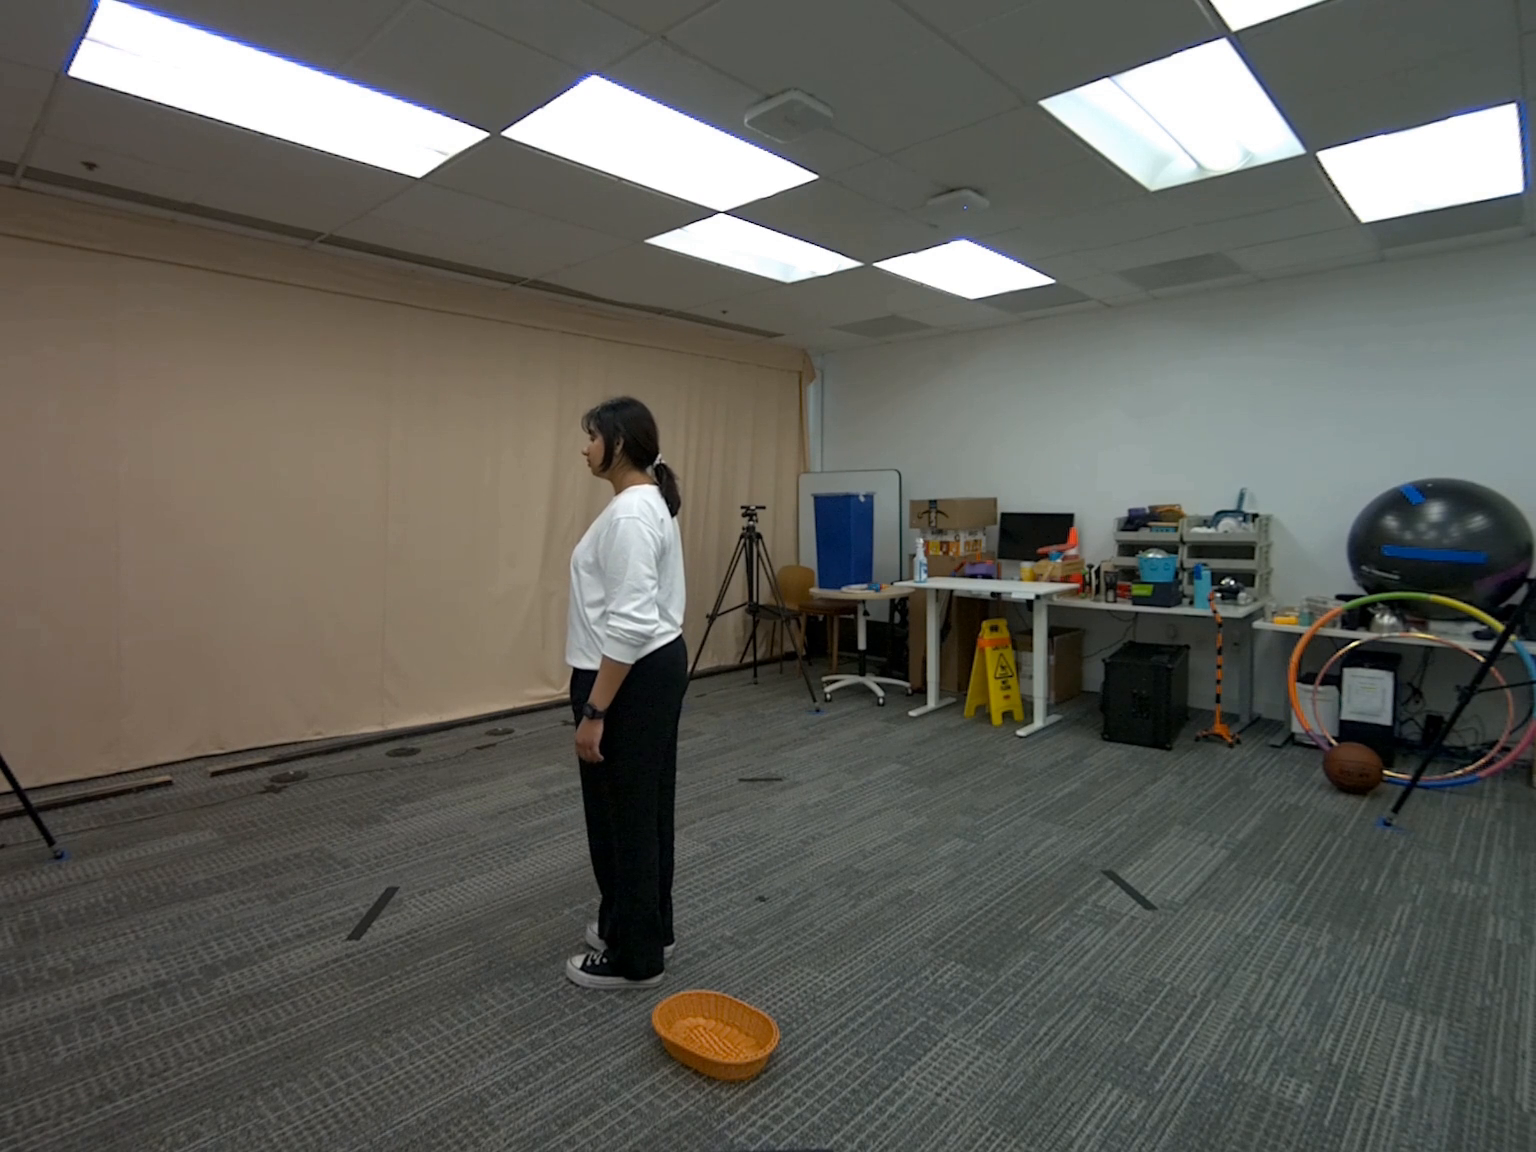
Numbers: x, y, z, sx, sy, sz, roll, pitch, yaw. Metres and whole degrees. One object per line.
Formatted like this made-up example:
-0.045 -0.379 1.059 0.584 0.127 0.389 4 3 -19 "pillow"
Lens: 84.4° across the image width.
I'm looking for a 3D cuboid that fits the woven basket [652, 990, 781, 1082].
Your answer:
-0.124 1.174 2.159 0.362 0.073 0.245 4 5 40 "woven basket"
